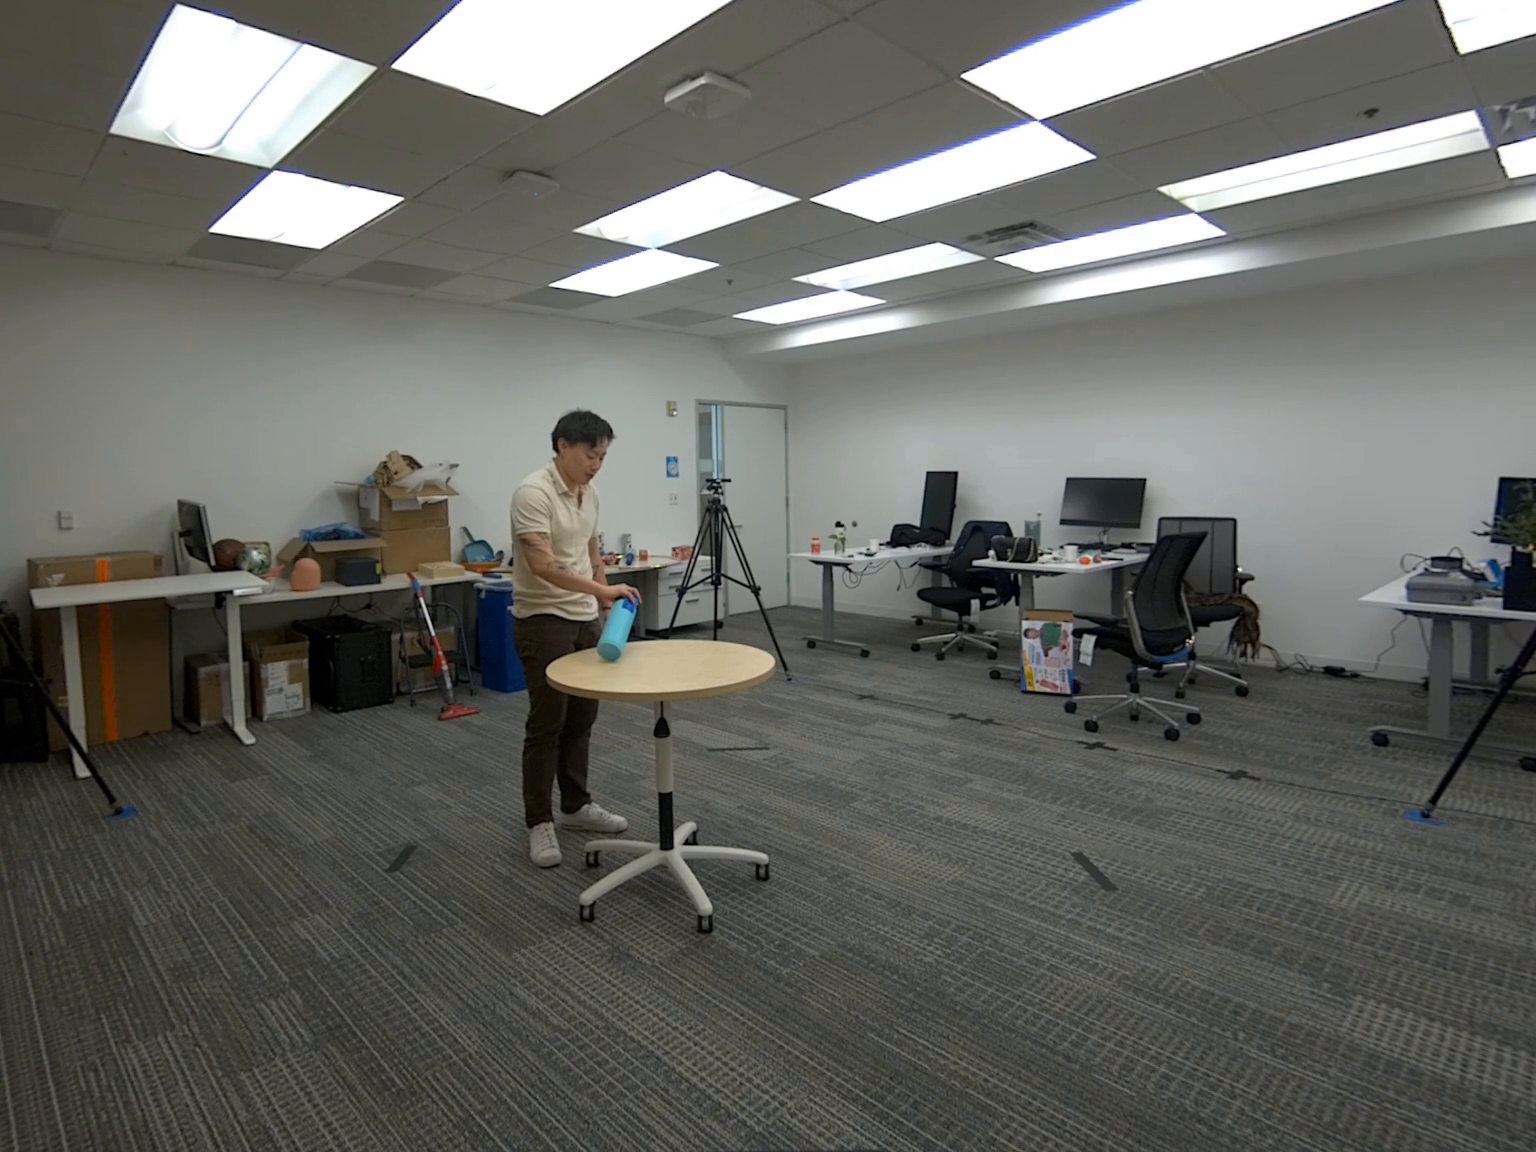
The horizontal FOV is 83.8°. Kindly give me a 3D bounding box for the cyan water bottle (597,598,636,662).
[{"bbox_3d":[-0.519,0.167,3.010,0.093,0.089,0.288,-1,40,12],"label":"cyan water bottle"}]
